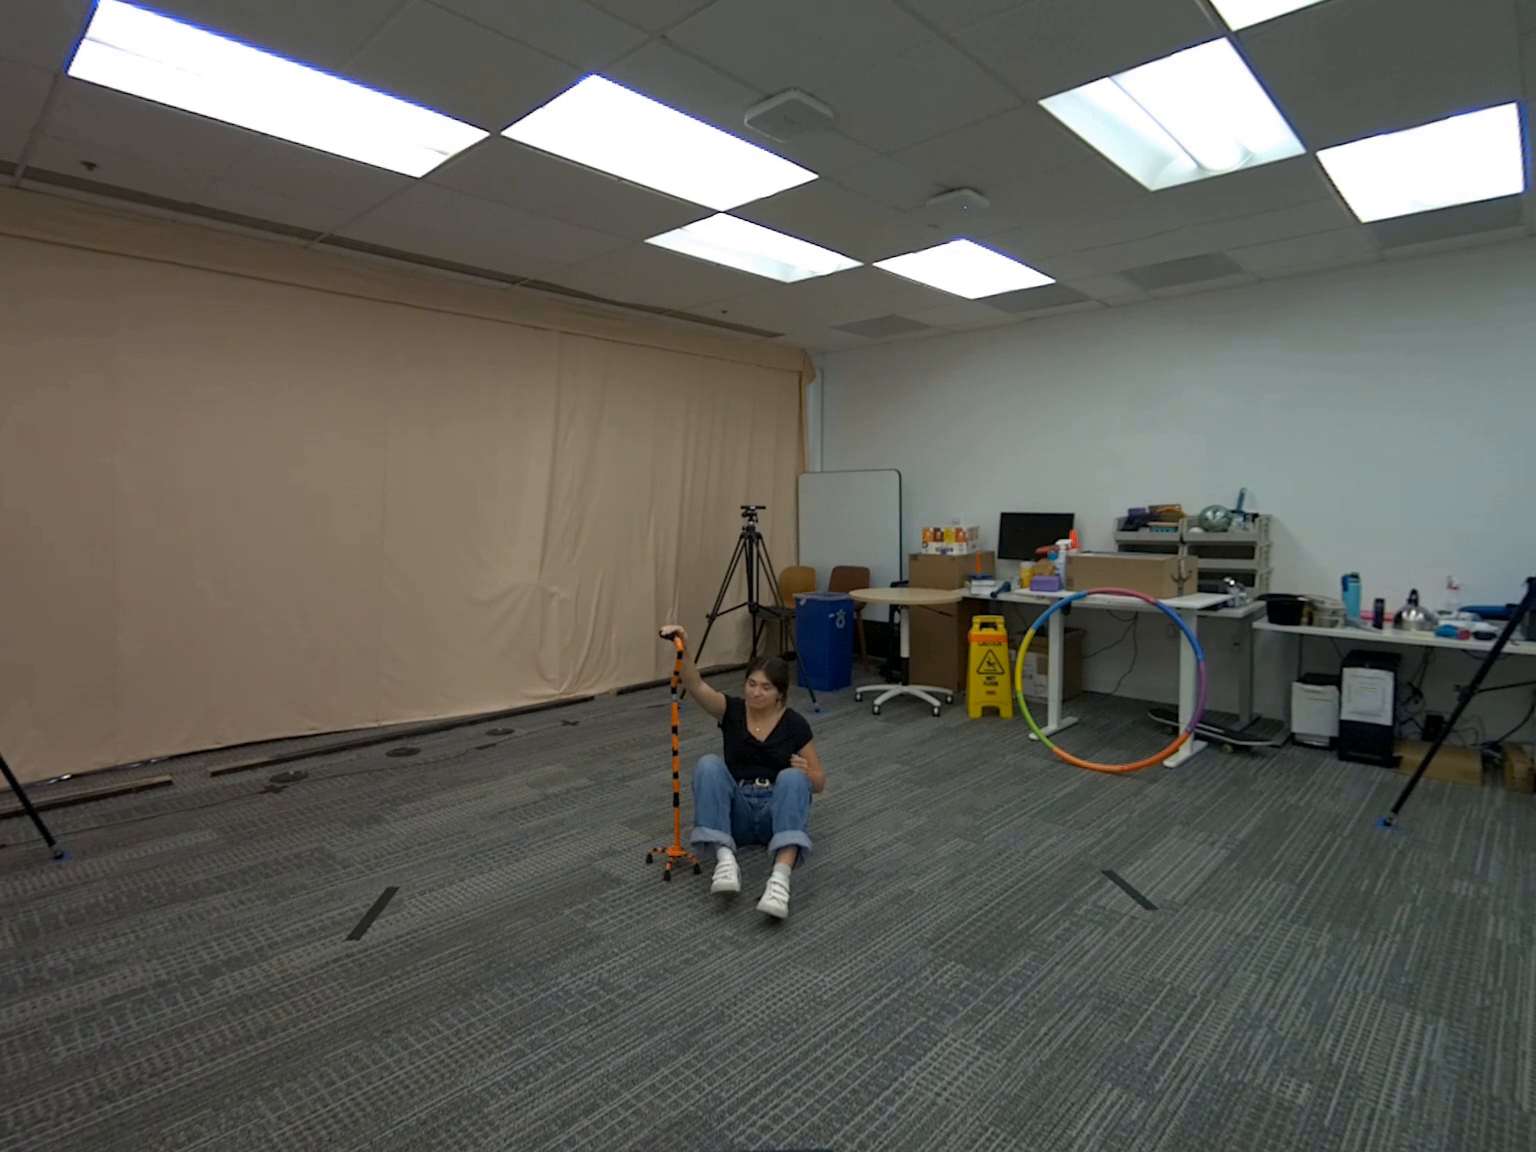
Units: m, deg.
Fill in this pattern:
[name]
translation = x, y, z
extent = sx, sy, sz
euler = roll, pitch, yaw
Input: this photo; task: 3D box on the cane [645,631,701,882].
[cane]
translation = -0.365, 0.671, 3.225
extent = 0.147, 0.906, 0.212
euler = -1, 3, -30
